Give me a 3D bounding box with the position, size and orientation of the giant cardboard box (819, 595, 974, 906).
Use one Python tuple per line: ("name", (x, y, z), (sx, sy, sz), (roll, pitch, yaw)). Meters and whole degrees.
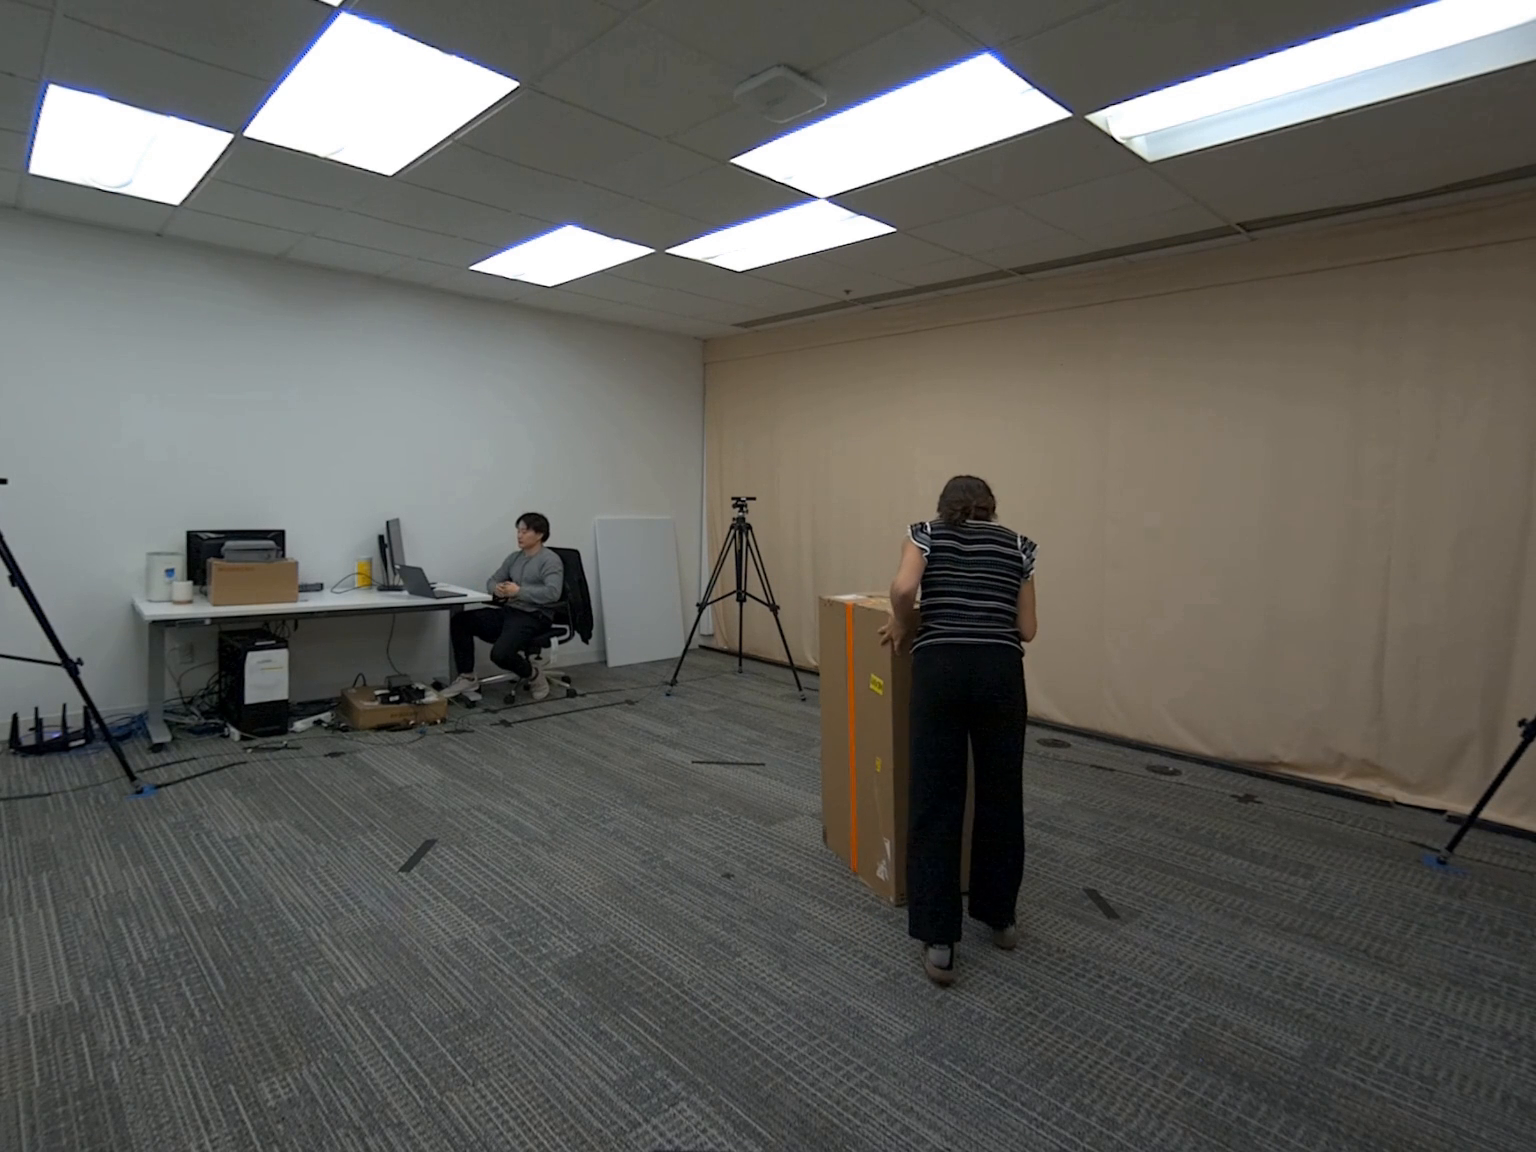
("giant cardboard box", (0.498, 0.599, 3.206), (0.420, 1.023, 0.587), (-2, 4, -21))
